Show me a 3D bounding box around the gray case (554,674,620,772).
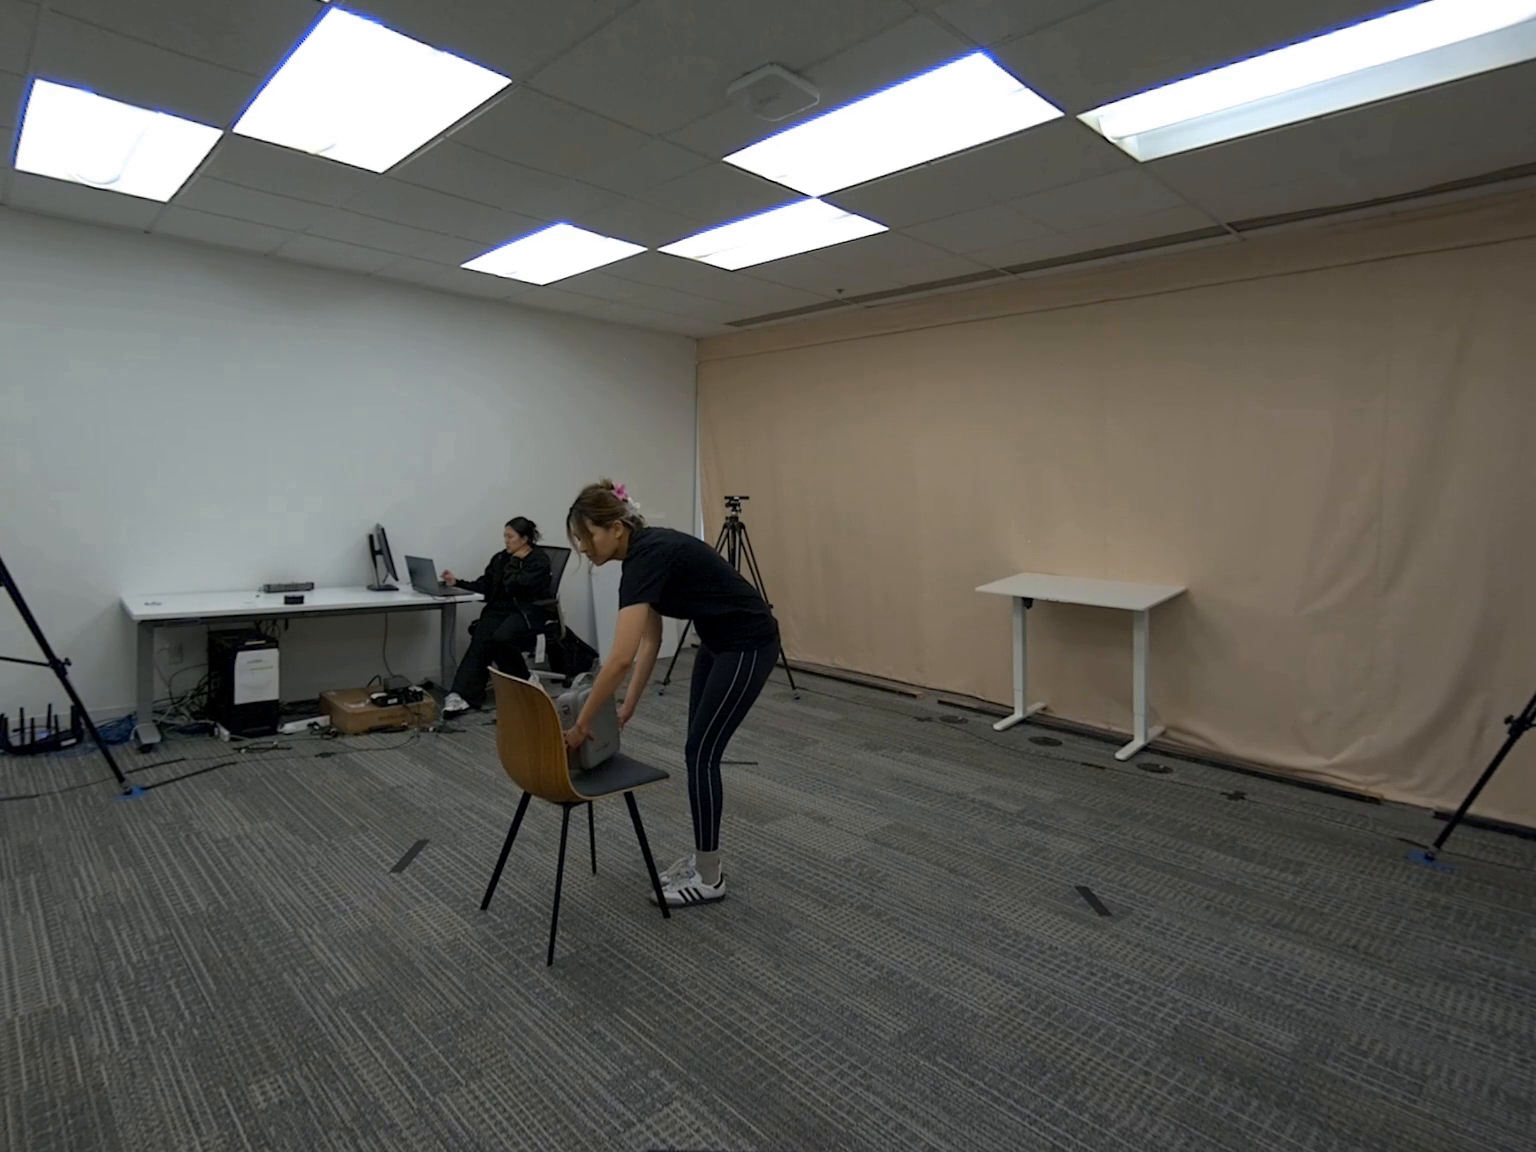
[{"bbox_3d":[-0.601,0.489,2.799,0.106,0.260,0.253,-6,1,20],"label":"gray case"}]
